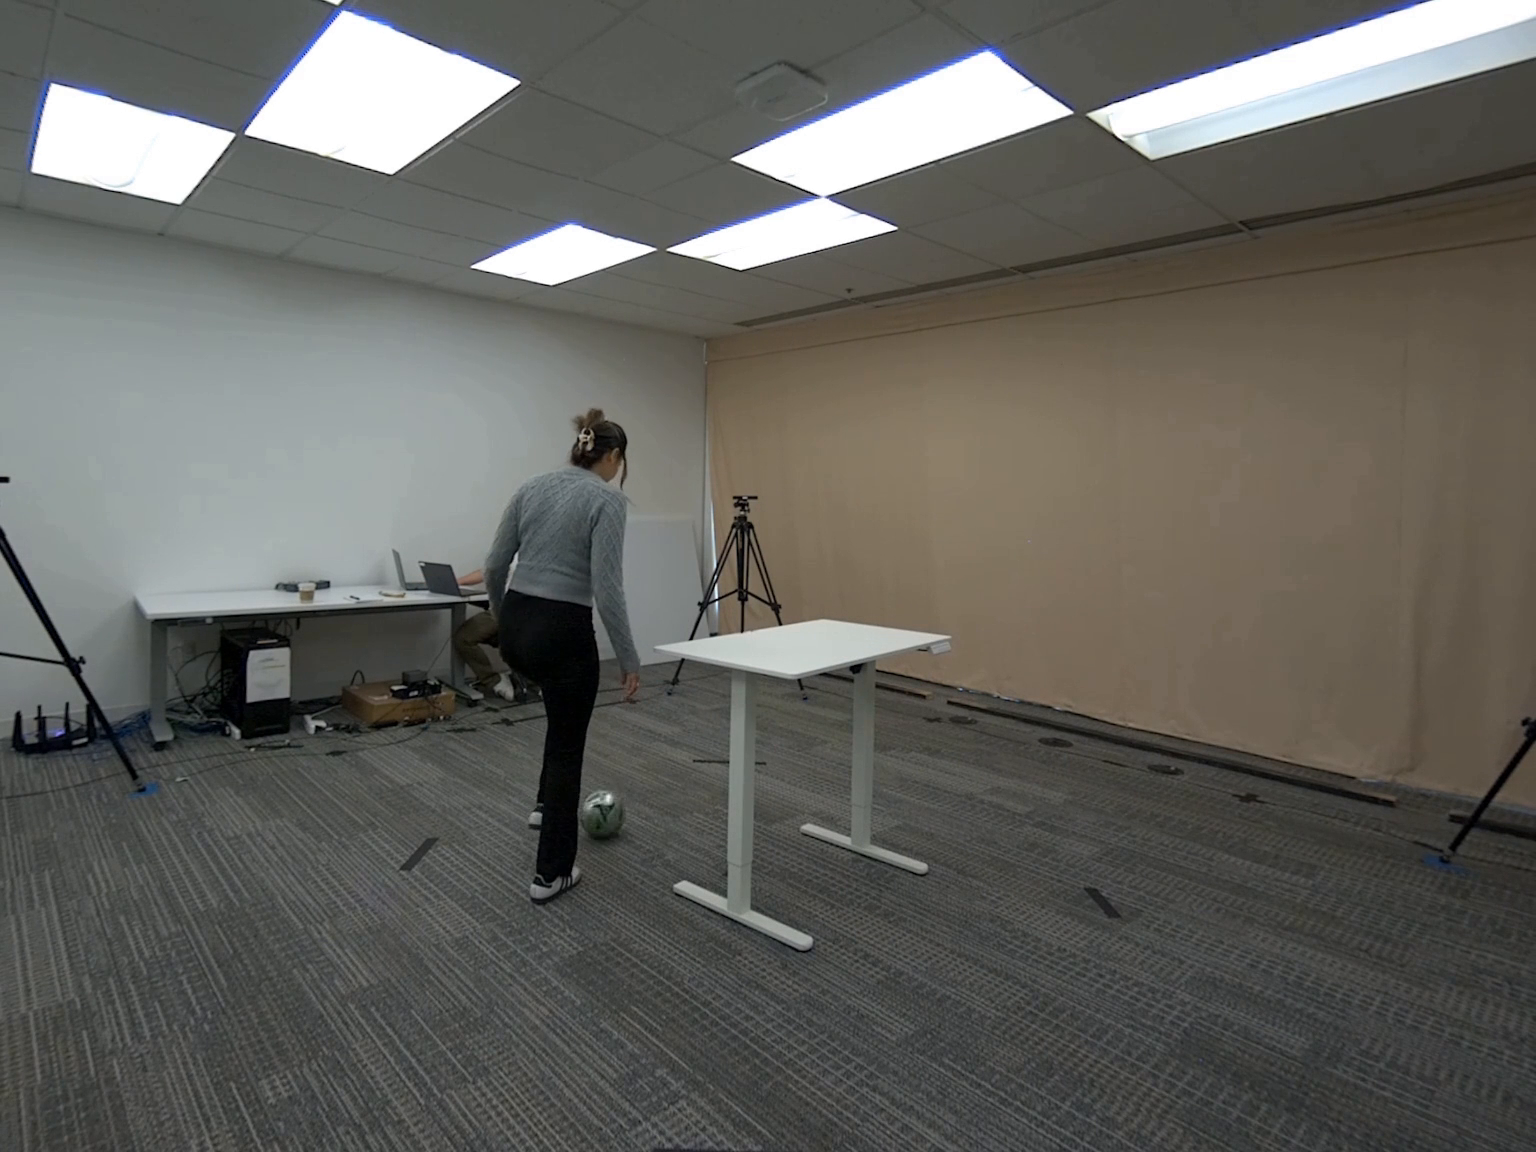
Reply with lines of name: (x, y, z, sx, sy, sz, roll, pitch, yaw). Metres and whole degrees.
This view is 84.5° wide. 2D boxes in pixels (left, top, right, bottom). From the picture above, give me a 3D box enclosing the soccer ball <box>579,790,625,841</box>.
soccer ball: (-0.687, 0.968, 3.418, 0.187, 0.187, 0.188, 1, 4, -1)
